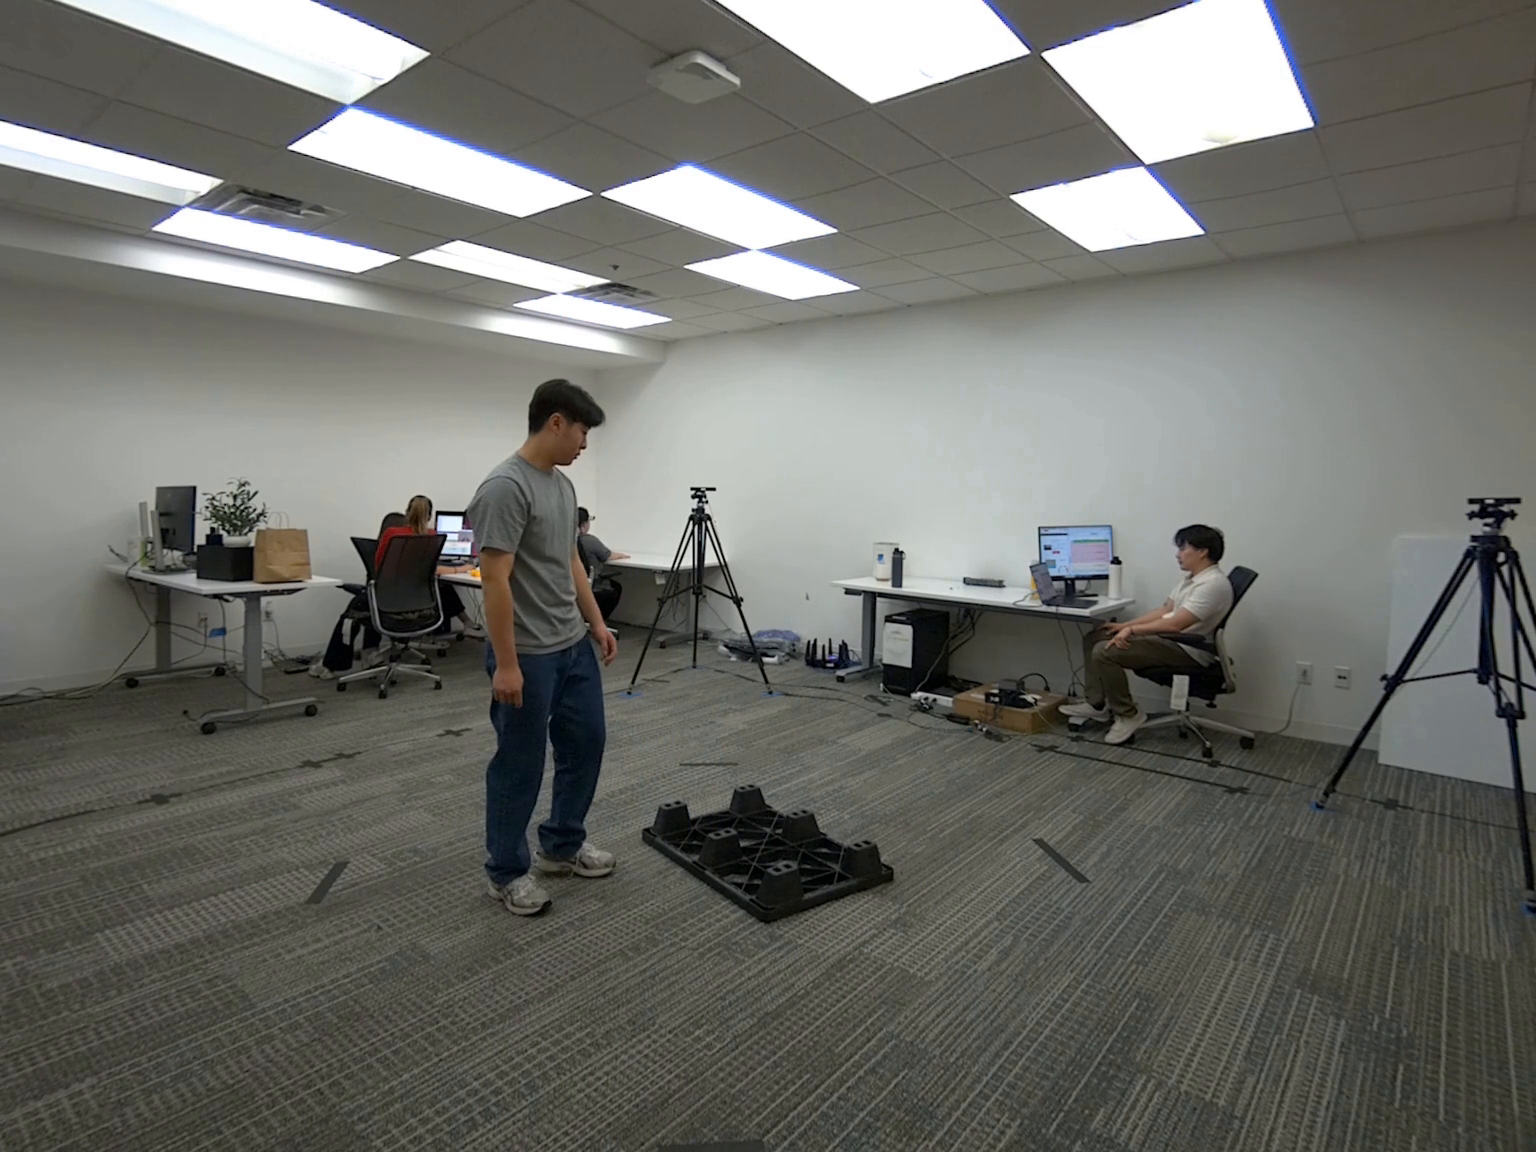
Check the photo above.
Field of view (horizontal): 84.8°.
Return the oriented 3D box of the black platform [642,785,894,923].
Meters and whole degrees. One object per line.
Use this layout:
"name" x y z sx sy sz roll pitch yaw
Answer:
"black platform" -0.036 0.994 3.203 0.587 0.143 0.832 -2 6 -37
